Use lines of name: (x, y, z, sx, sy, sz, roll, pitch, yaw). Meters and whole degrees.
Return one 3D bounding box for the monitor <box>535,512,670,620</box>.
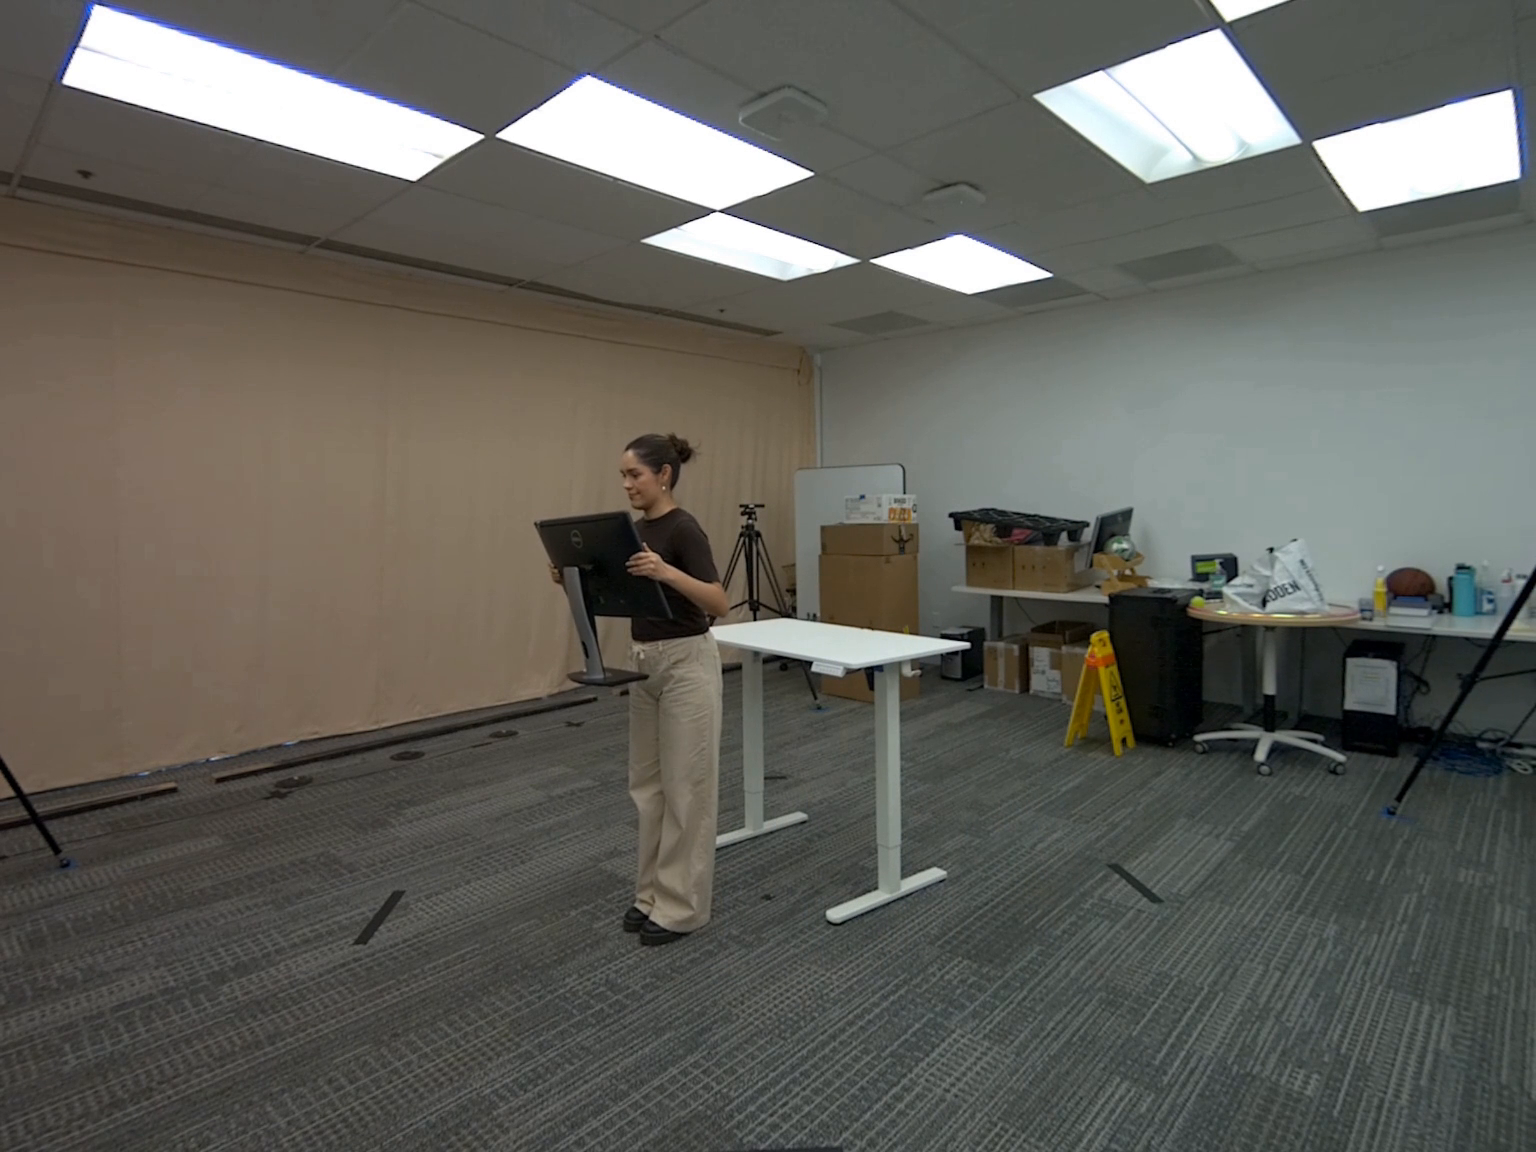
monitor: (-0.539, 0.072, 2.634, 0.556, 0.521, 0.182, -3, 7, 45)
